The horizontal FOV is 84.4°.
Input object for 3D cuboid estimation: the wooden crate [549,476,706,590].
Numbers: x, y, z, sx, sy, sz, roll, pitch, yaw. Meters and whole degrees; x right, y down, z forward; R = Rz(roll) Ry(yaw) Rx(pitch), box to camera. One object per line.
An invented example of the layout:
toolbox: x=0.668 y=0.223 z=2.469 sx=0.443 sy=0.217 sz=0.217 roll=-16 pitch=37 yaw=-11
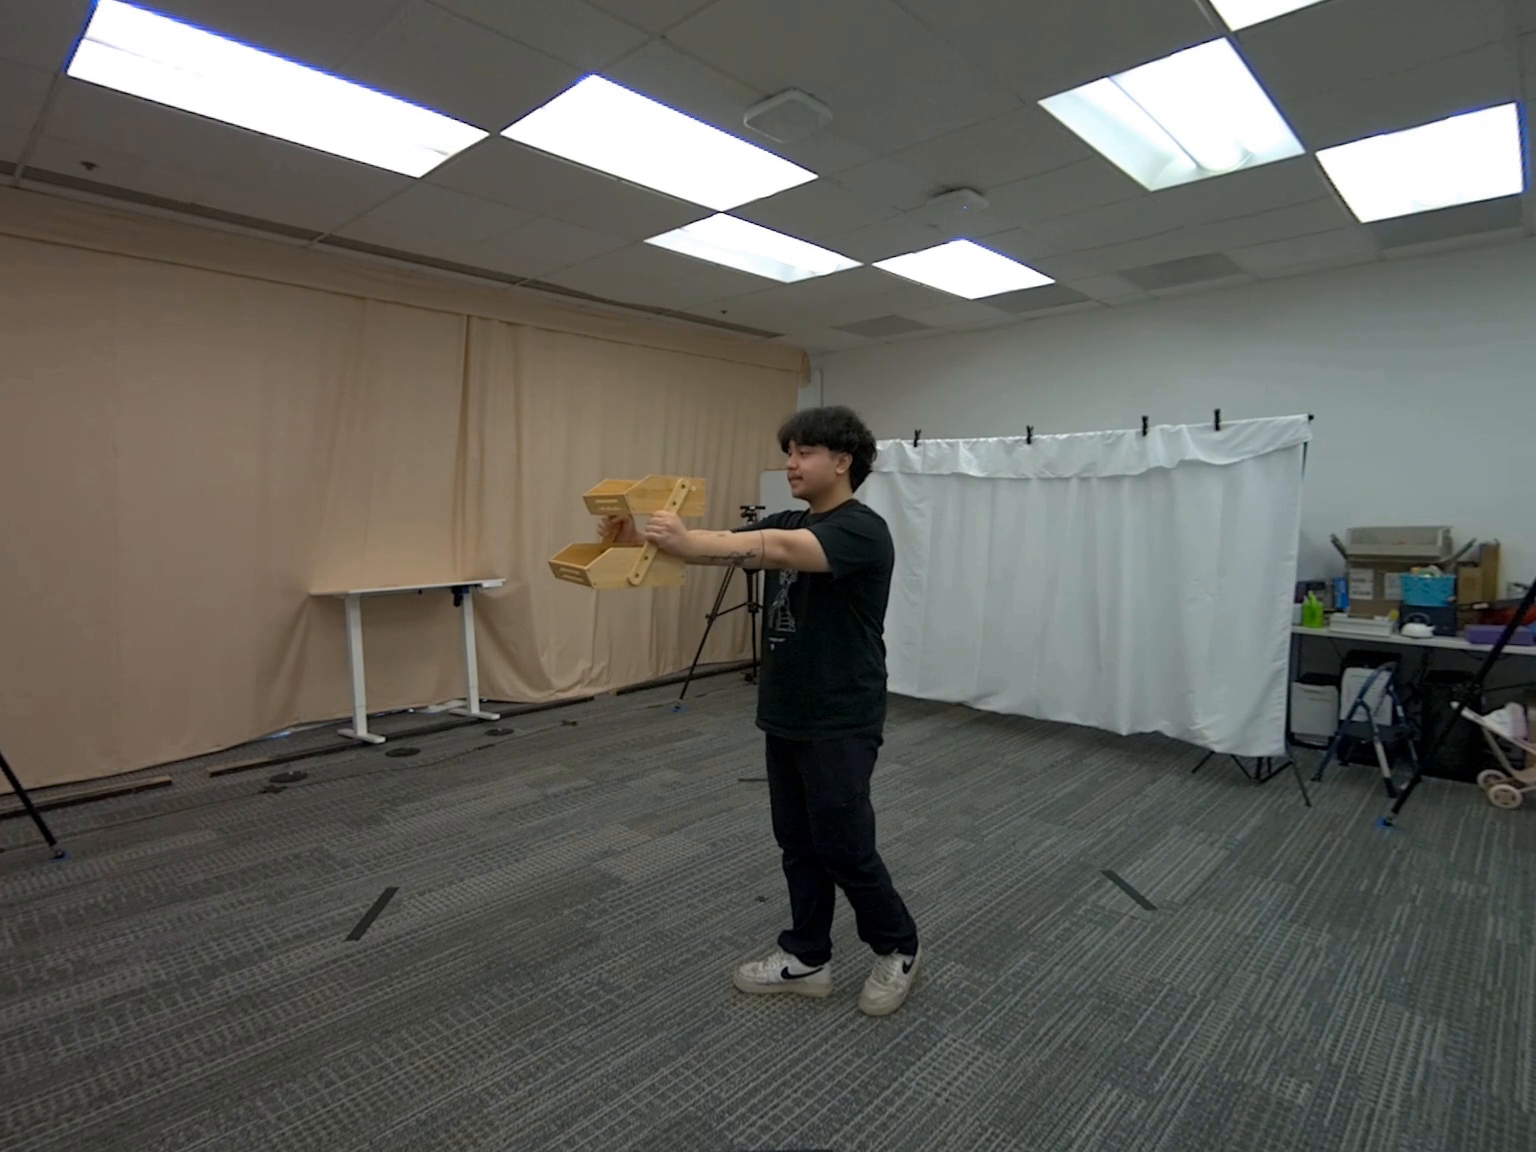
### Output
wooden crate: x=-0.355 y=-0.118 z=2.101 sx=0.294 sy=0.273 sz=0.334 roll=0 pitch=3 yaw=-30
